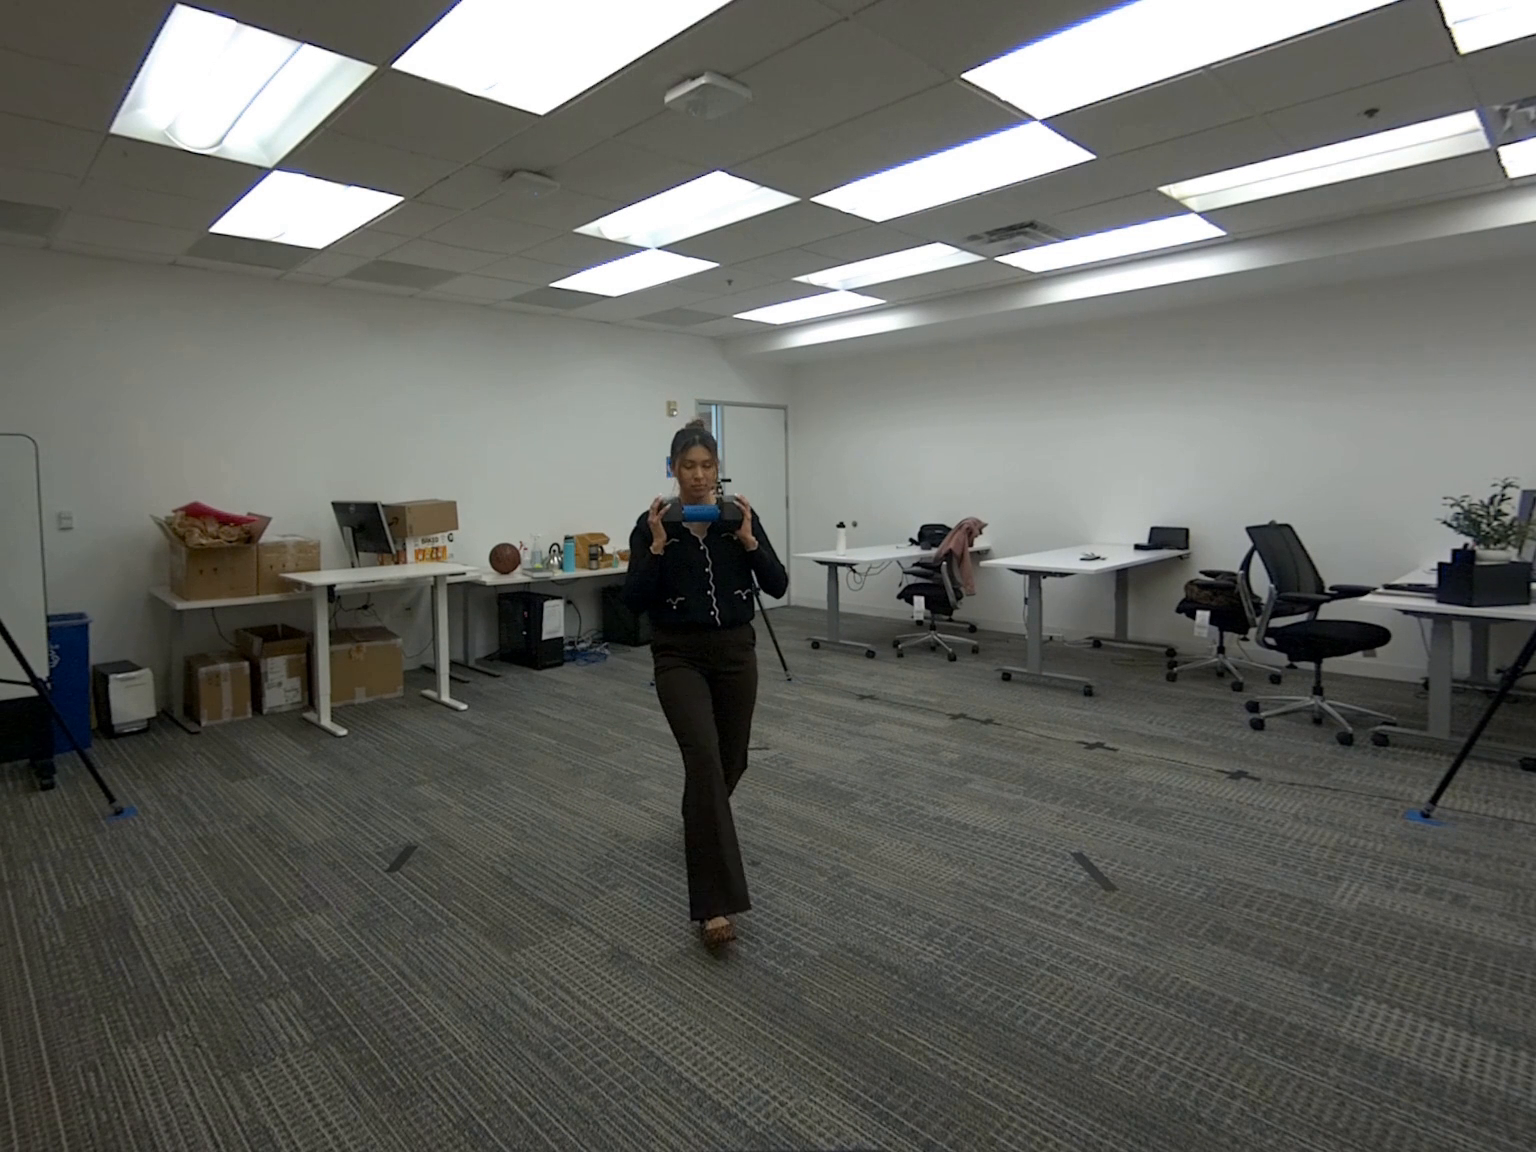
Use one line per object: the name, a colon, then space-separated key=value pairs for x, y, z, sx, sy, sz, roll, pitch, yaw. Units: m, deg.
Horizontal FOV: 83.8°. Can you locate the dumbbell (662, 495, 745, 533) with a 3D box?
dumbbell: x=-0.238 y=-0.210 z=2.950 sx=0.291 sy=0.112 sz=0.121 roll=-4 pitch=-31 yaw=-11
